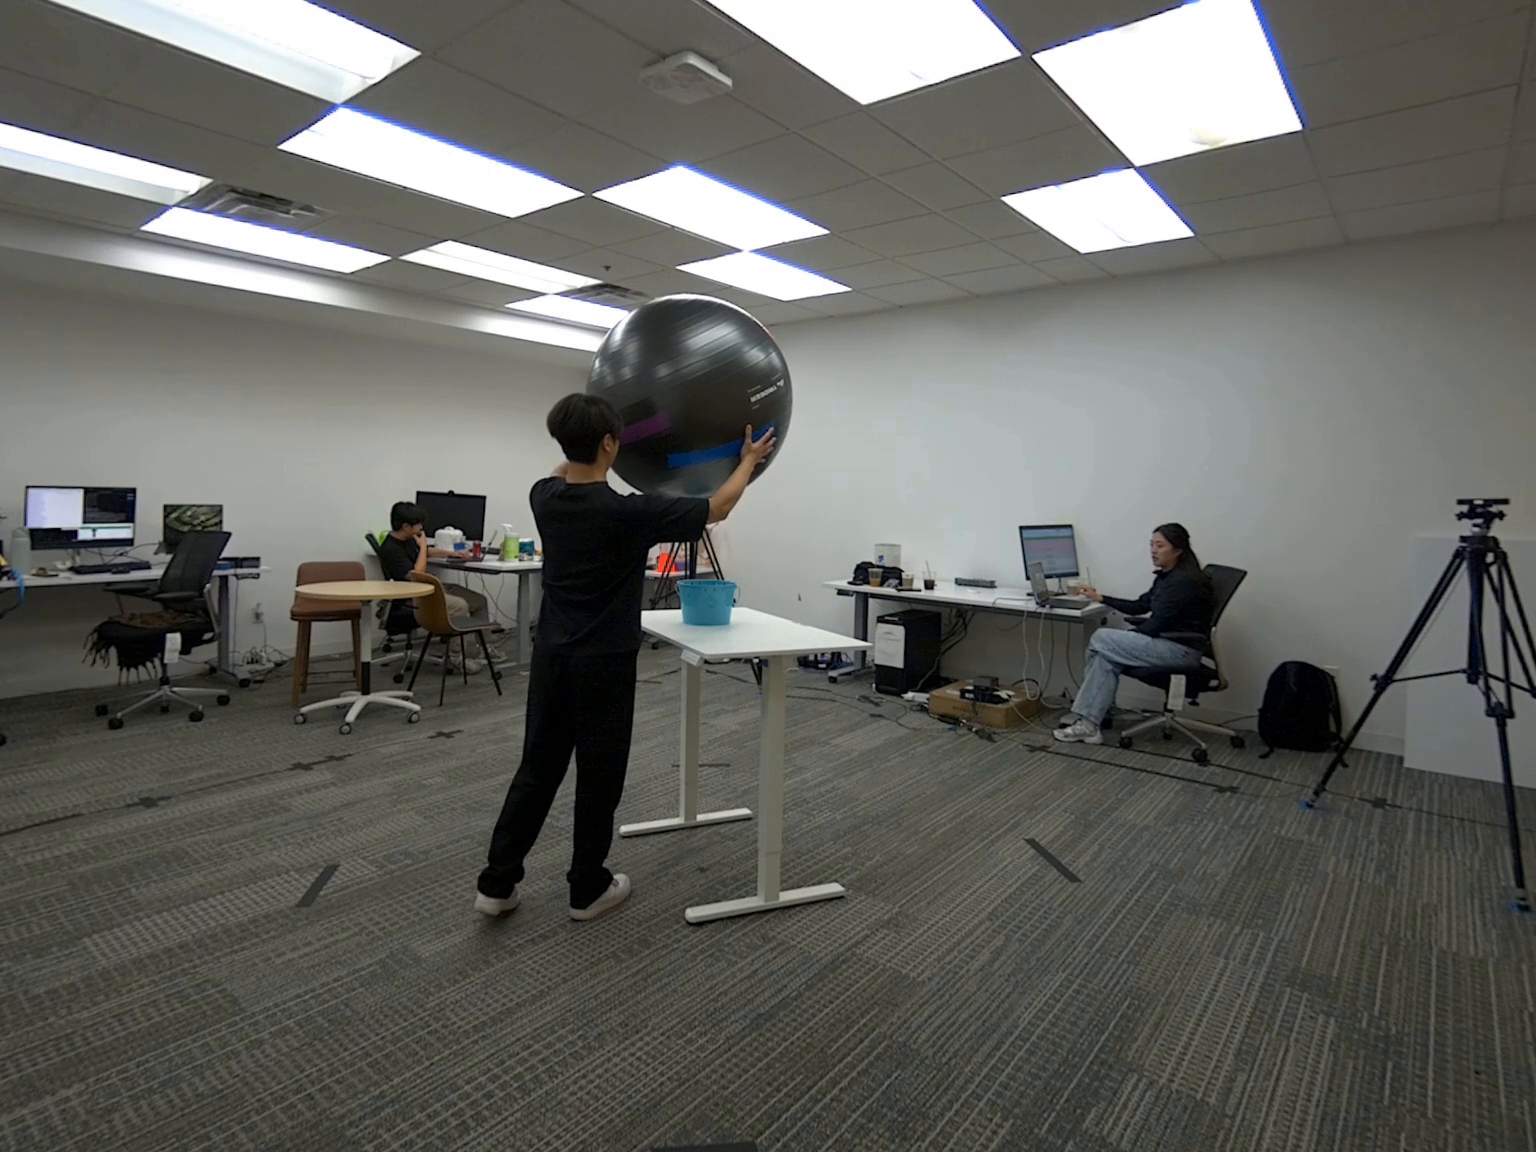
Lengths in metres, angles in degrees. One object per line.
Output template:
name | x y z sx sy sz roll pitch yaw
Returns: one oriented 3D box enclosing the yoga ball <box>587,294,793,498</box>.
yoga ball | -0.303 -0.648 3.149 0.757 0.756 0.762 1 4 -2
